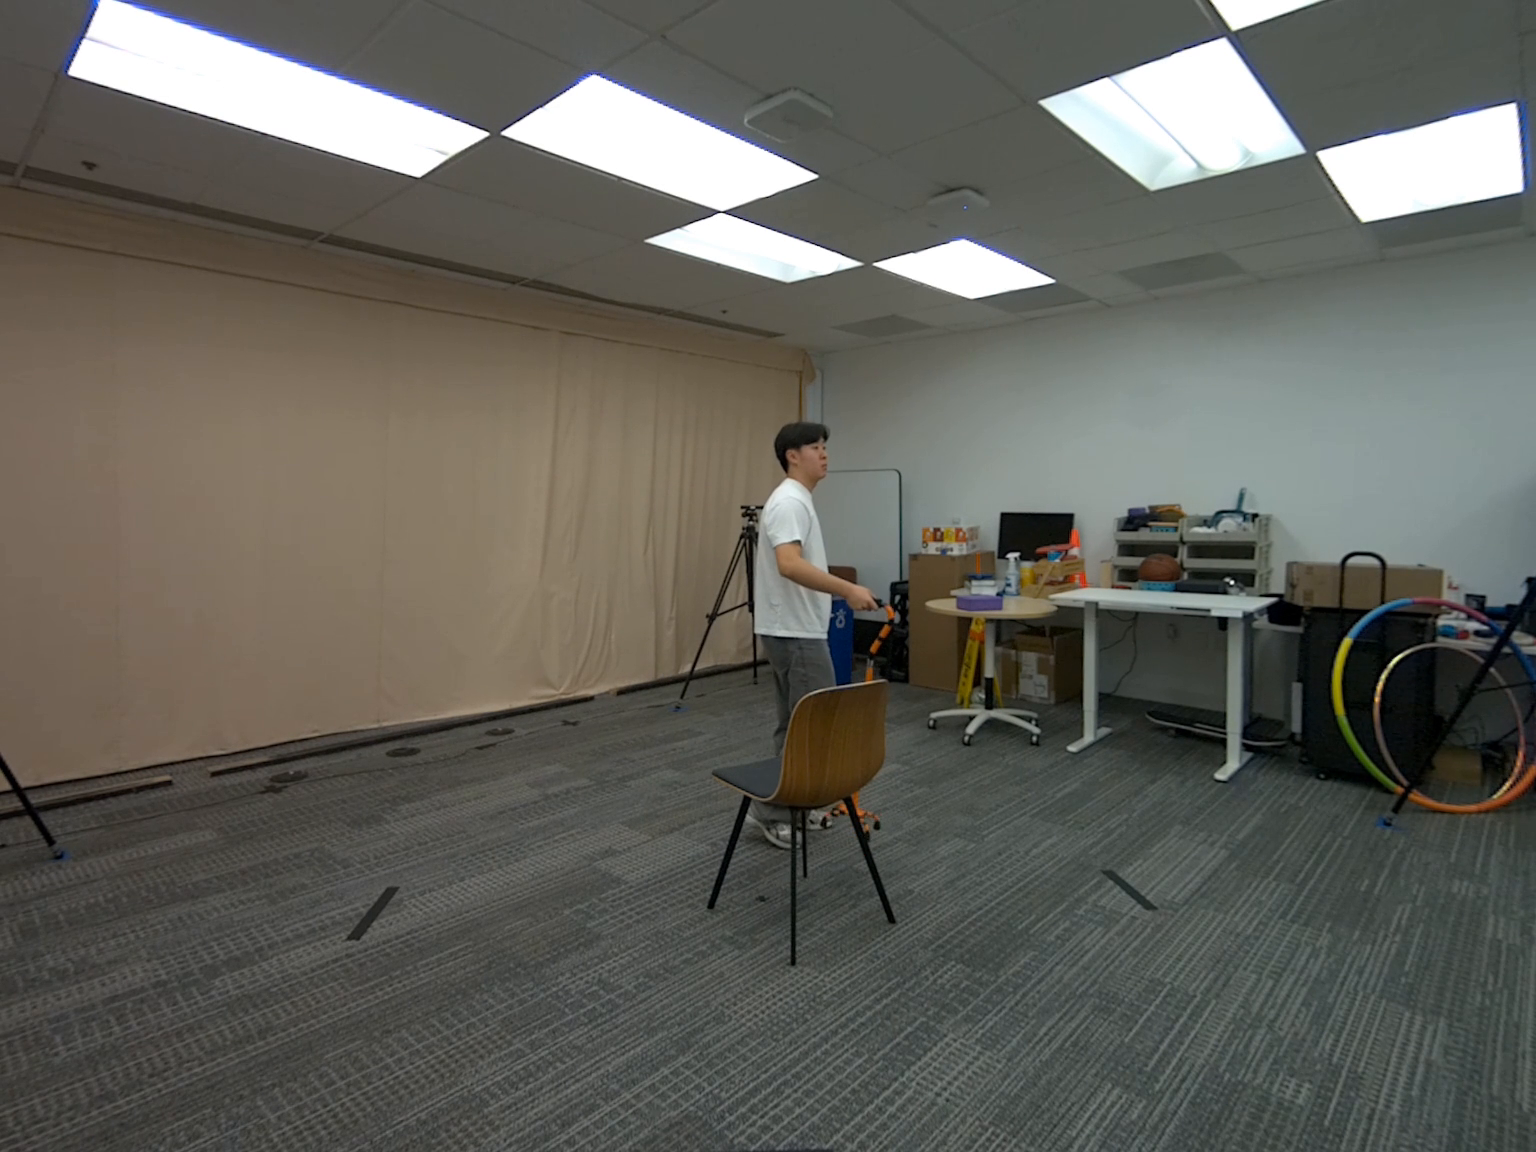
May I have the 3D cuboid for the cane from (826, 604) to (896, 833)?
[{"bbox_3d":[0.381,0.549,3.228,0.212,0.904,0.148,8,8,25],"label":"cane"}]
